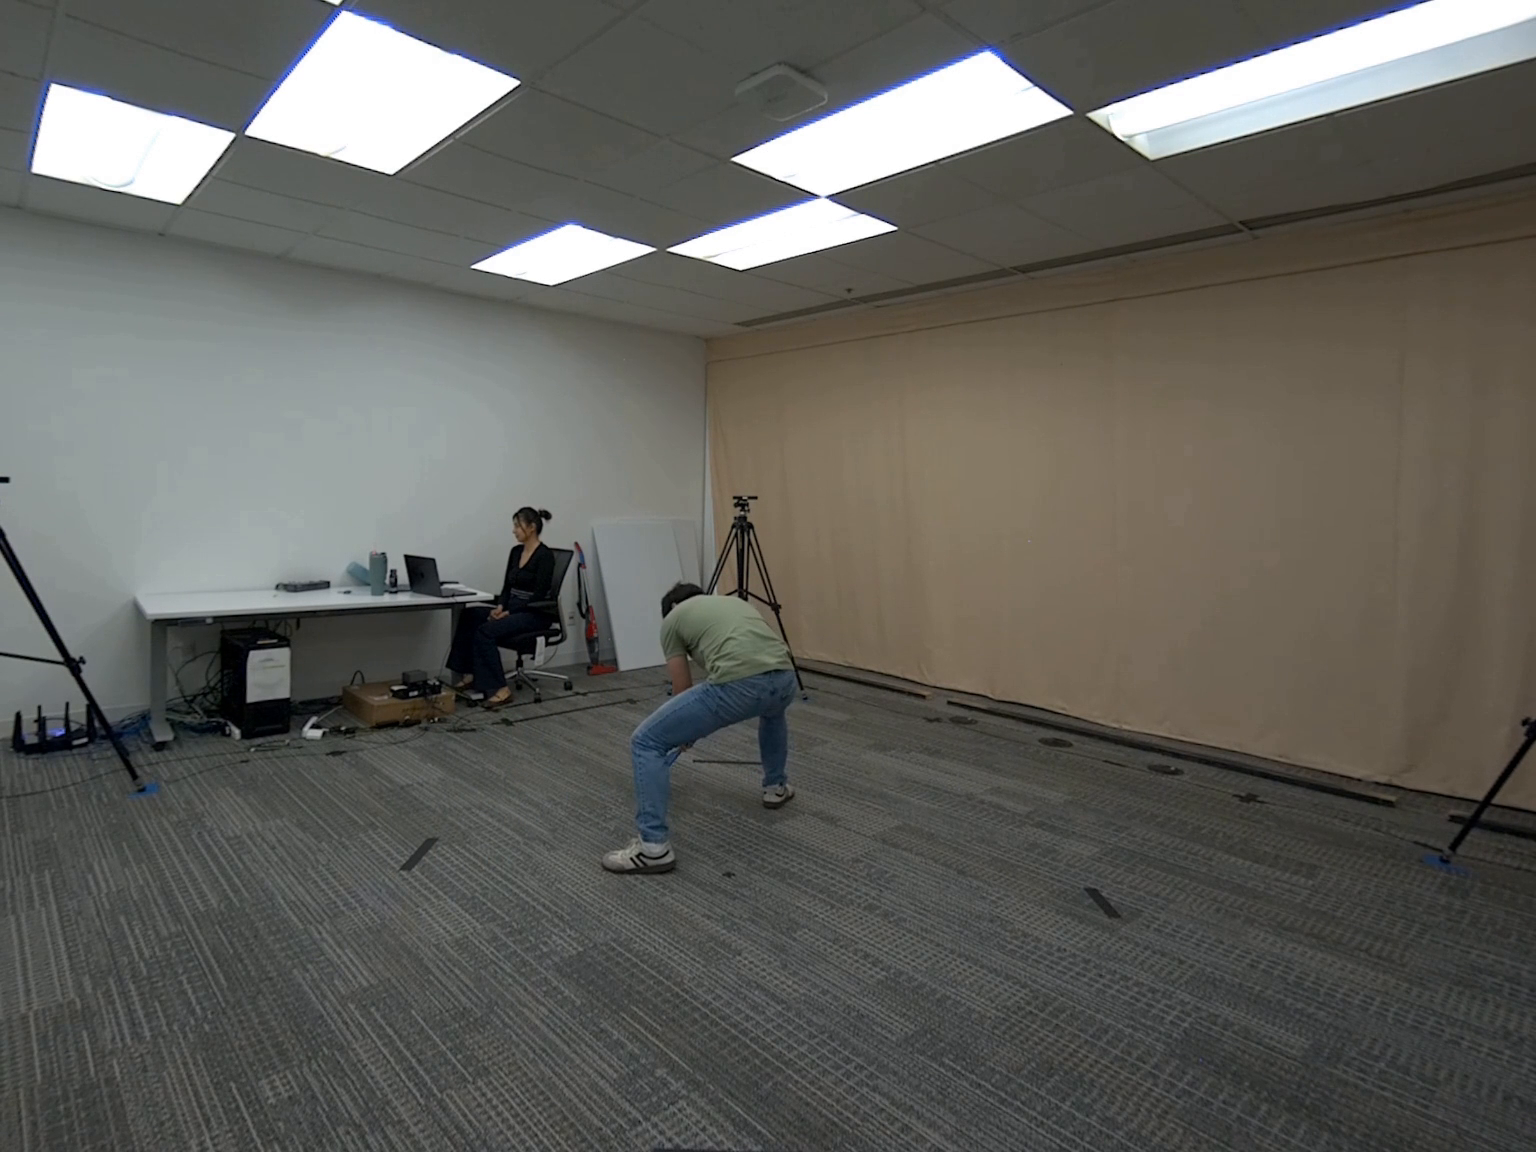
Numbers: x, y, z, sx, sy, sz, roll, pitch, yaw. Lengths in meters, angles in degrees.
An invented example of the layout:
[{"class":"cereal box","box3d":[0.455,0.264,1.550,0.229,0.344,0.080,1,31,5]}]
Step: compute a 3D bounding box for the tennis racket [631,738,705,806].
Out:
[{"class":"tennis racket","box3d":[-0.456,0.865,3.917,0.031,0.433,0.215,44,9,-8]}]
